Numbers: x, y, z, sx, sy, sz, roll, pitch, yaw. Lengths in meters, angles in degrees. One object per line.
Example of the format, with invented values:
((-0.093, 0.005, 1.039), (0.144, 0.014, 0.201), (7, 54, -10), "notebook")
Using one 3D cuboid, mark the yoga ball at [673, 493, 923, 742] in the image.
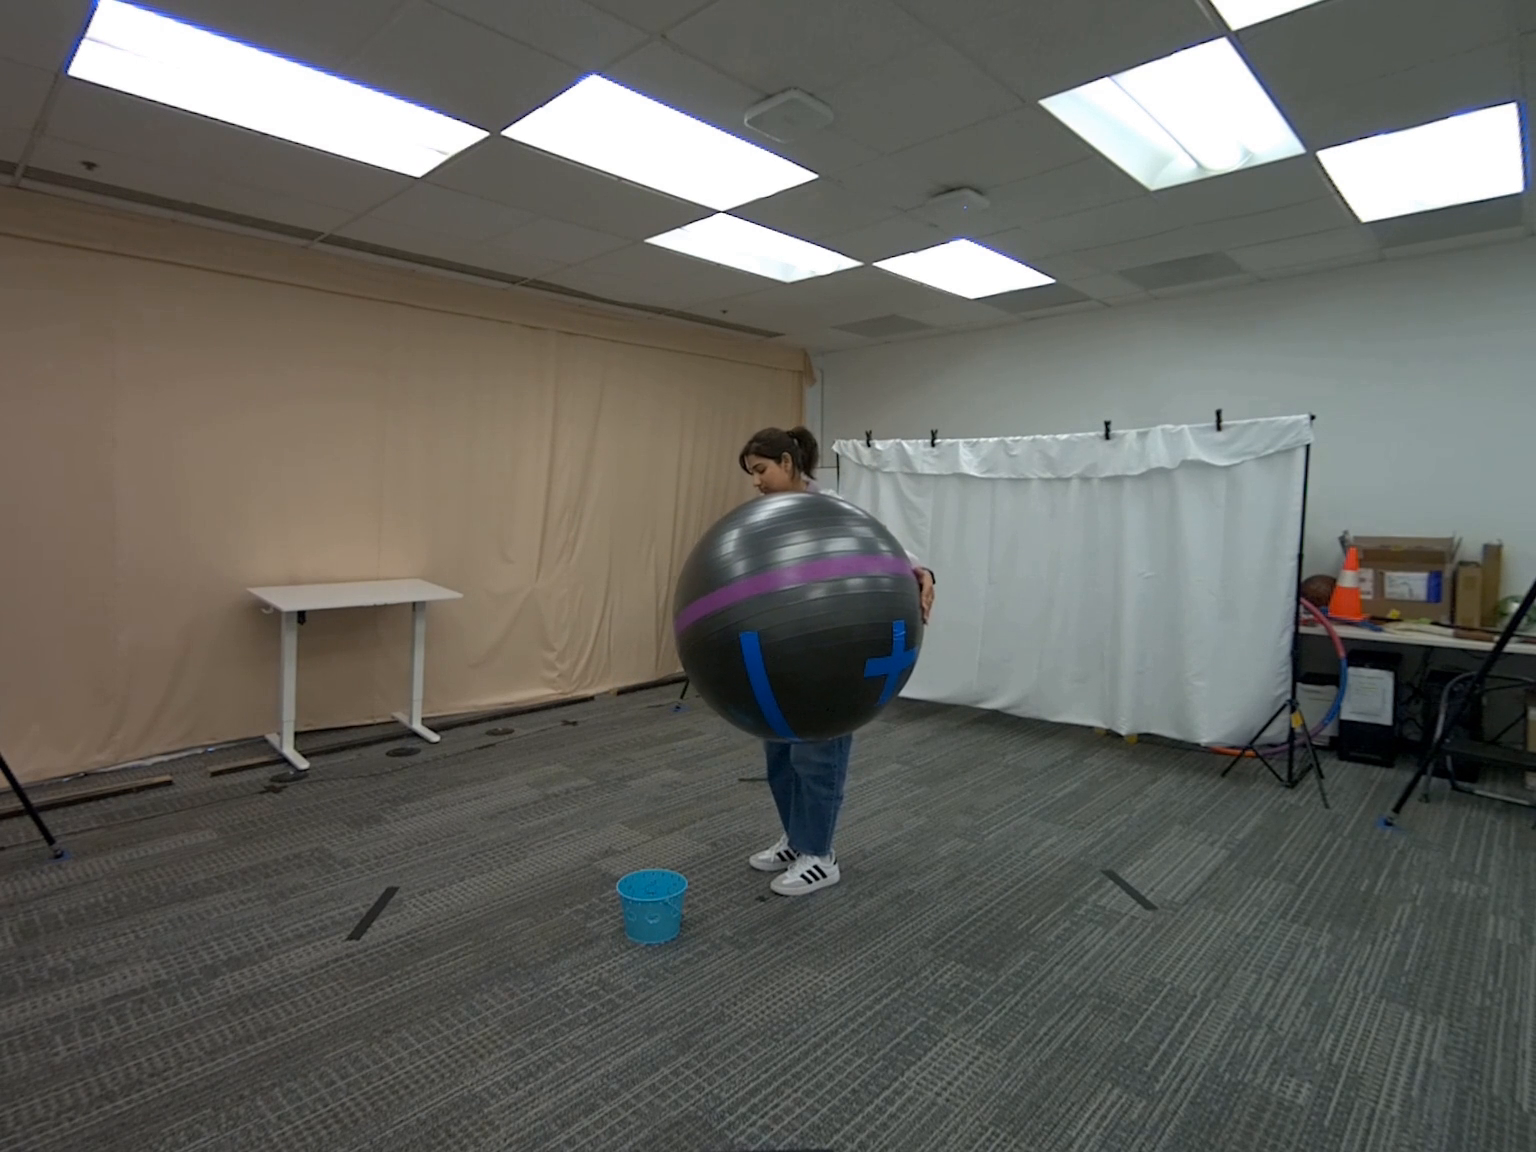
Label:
((0.088, 0.132, 2.570), (0.757, 0.756, 0.761), (0, 4, -2), "yoga ball")
